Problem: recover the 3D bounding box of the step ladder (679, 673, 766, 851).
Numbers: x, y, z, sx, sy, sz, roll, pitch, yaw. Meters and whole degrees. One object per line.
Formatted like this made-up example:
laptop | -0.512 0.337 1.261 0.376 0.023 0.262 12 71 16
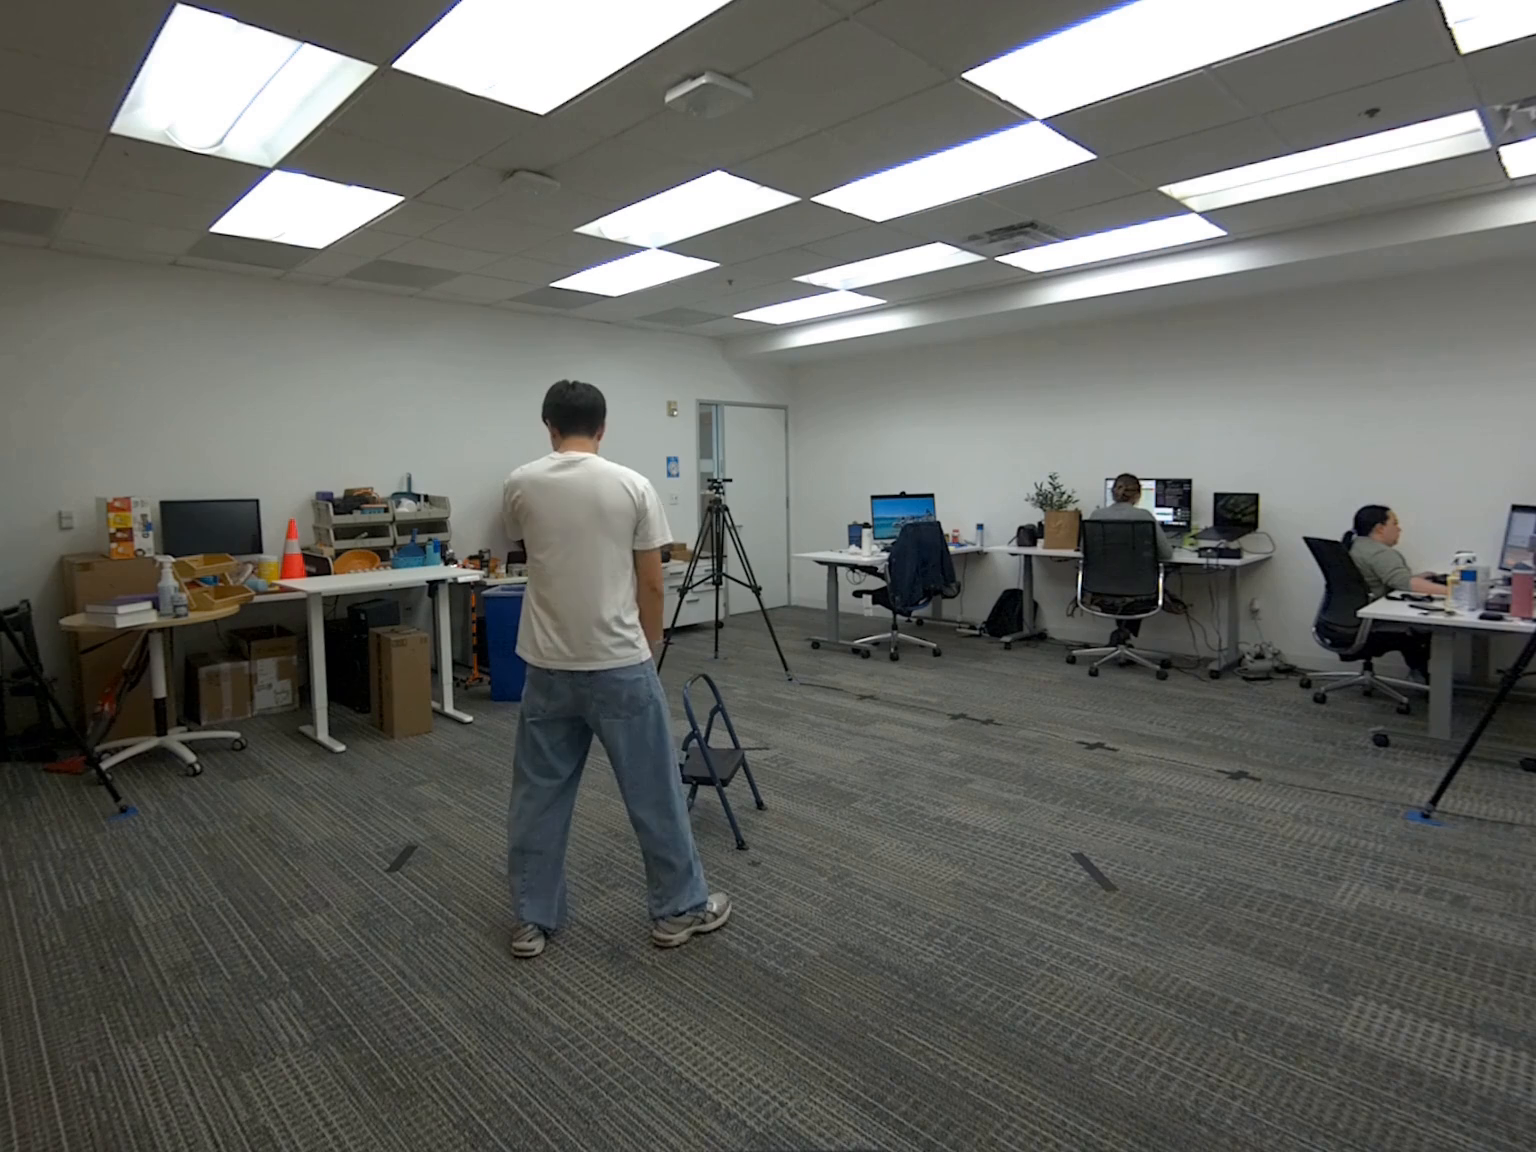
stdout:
step ladder | -0.221 0.707 3.447 0.353 0.604 0.427 0 4 11
